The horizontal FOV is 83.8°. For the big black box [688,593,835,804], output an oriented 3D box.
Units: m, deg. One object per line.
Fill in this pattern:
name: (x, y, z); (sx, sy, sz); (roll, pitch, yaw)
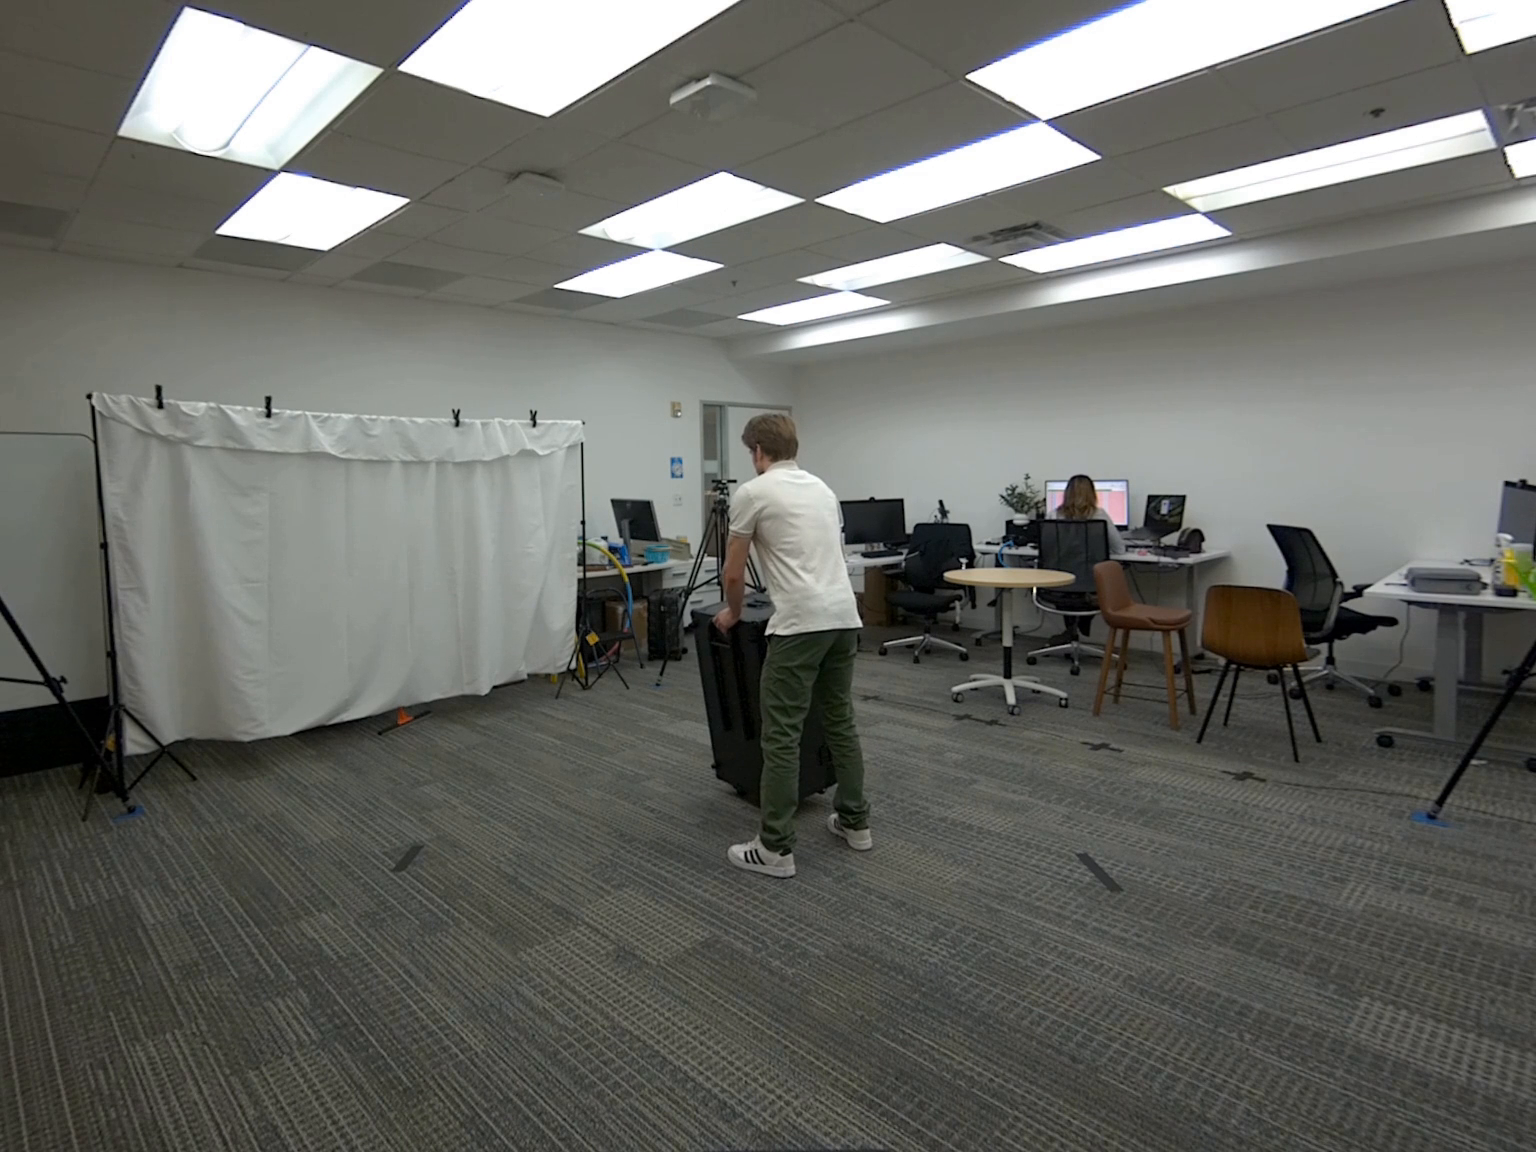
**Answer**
big black box: (0.000, 0.549, 3.694); (0.377, 0.862, 0.538); (-13, 9, -34)
